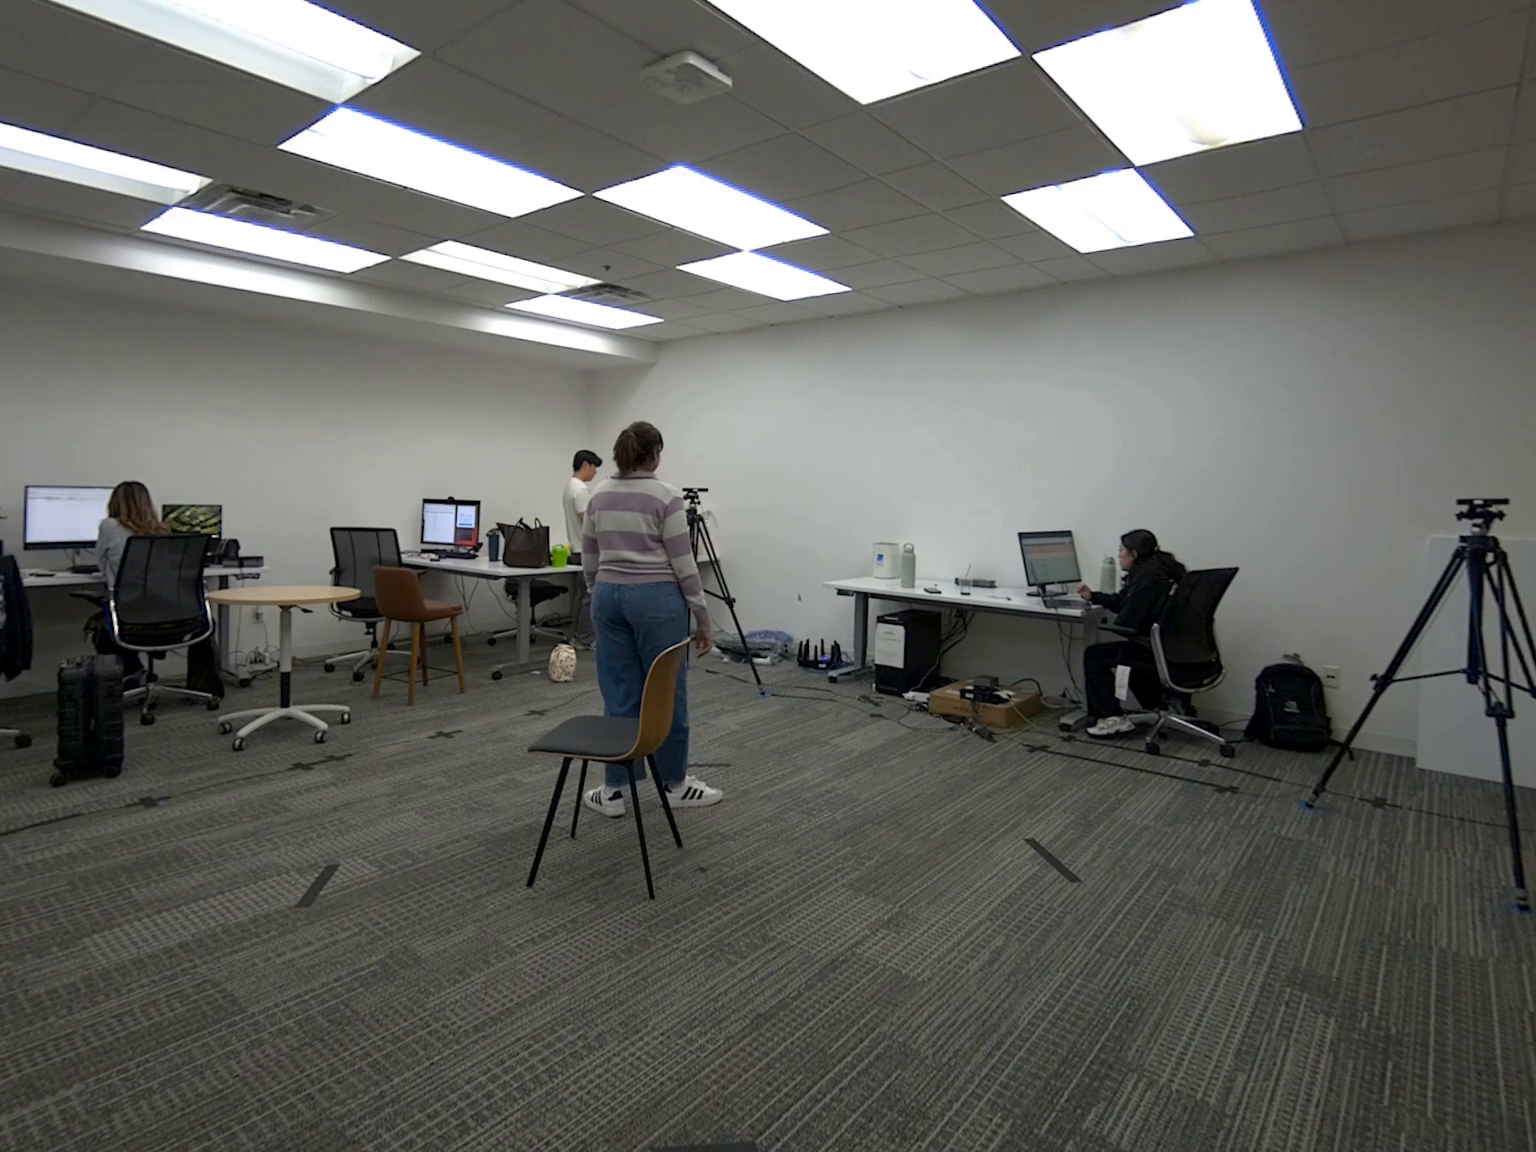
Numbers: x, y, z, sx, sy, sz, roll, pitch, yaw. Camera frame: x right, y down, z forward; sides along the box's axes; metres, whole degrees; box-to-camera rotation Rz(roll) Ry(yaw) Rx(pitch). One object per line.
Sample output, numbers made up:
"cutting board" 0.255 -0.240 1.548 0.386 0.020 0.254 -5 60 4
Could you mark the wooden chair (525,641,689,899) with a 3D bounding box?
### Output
"wooden chair" -0.595 0.637 3.102 0.529 0.875 0.474 5 4 9
